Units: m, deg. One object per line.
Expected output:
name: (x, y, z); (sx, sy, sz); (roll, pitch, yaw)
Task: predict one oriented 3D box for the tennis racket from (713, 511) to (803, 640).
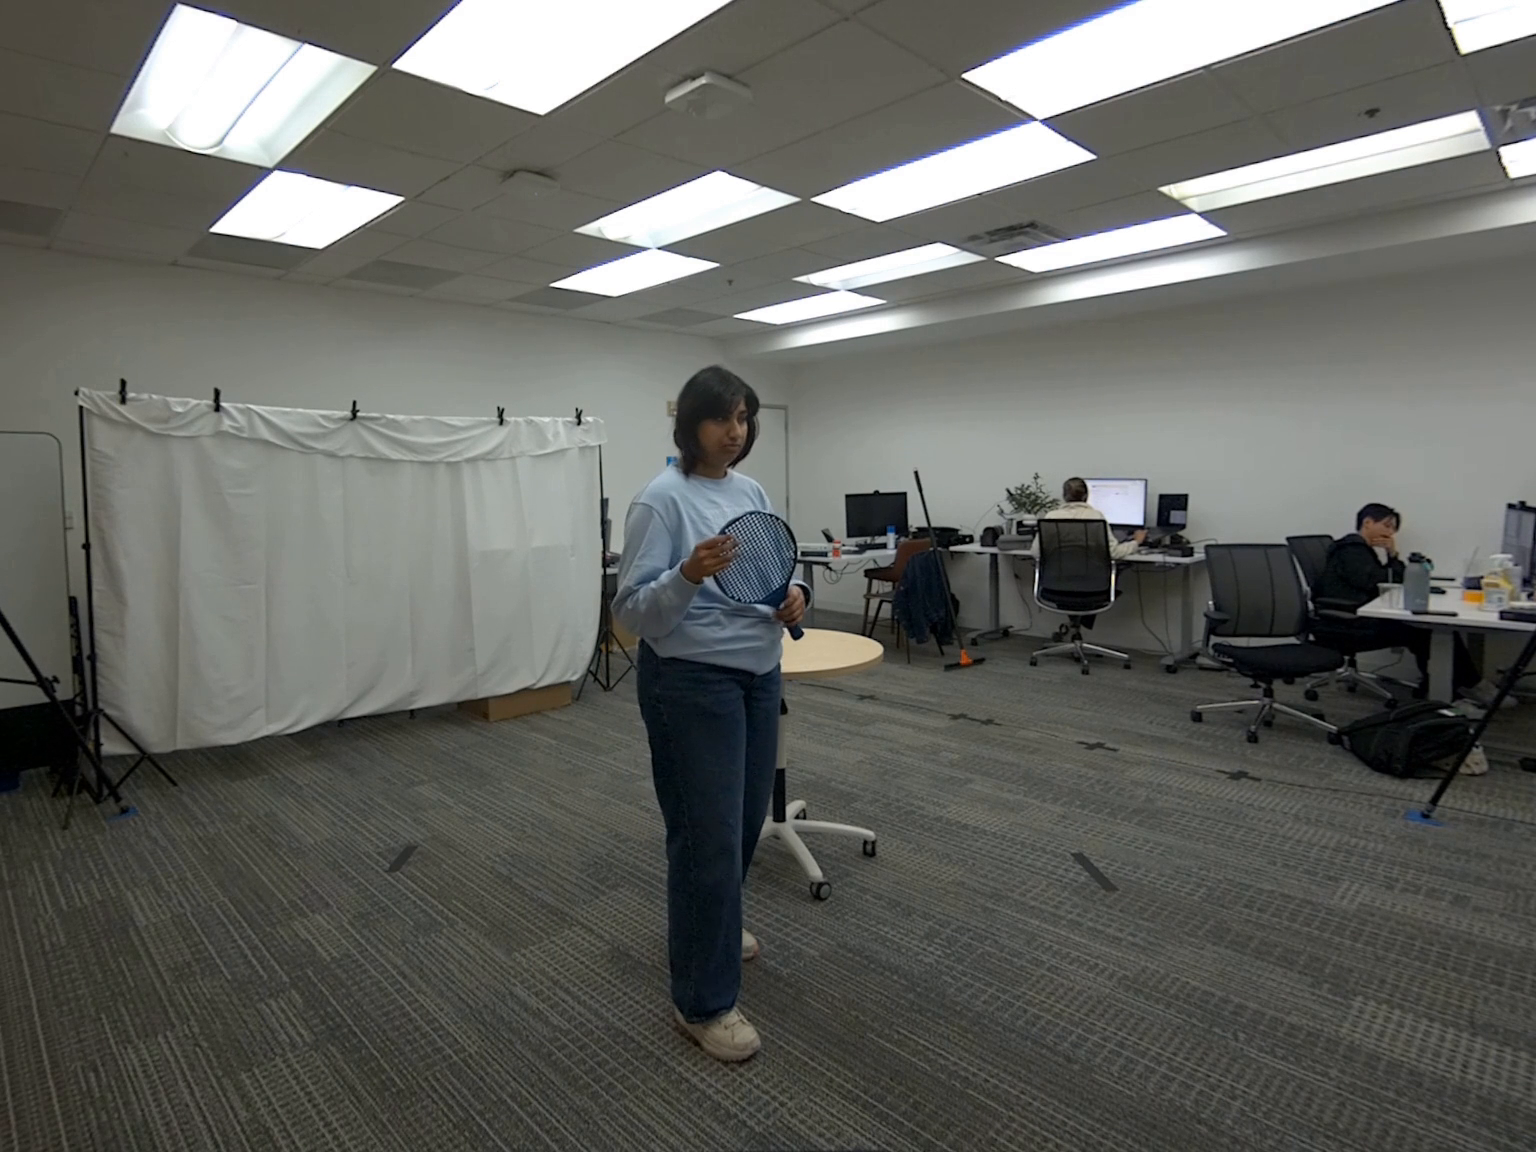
tennis racket: (-0.017, 0.013, 2.021); (0.213, 0.417, 0.033); (-35, 43, -7)
